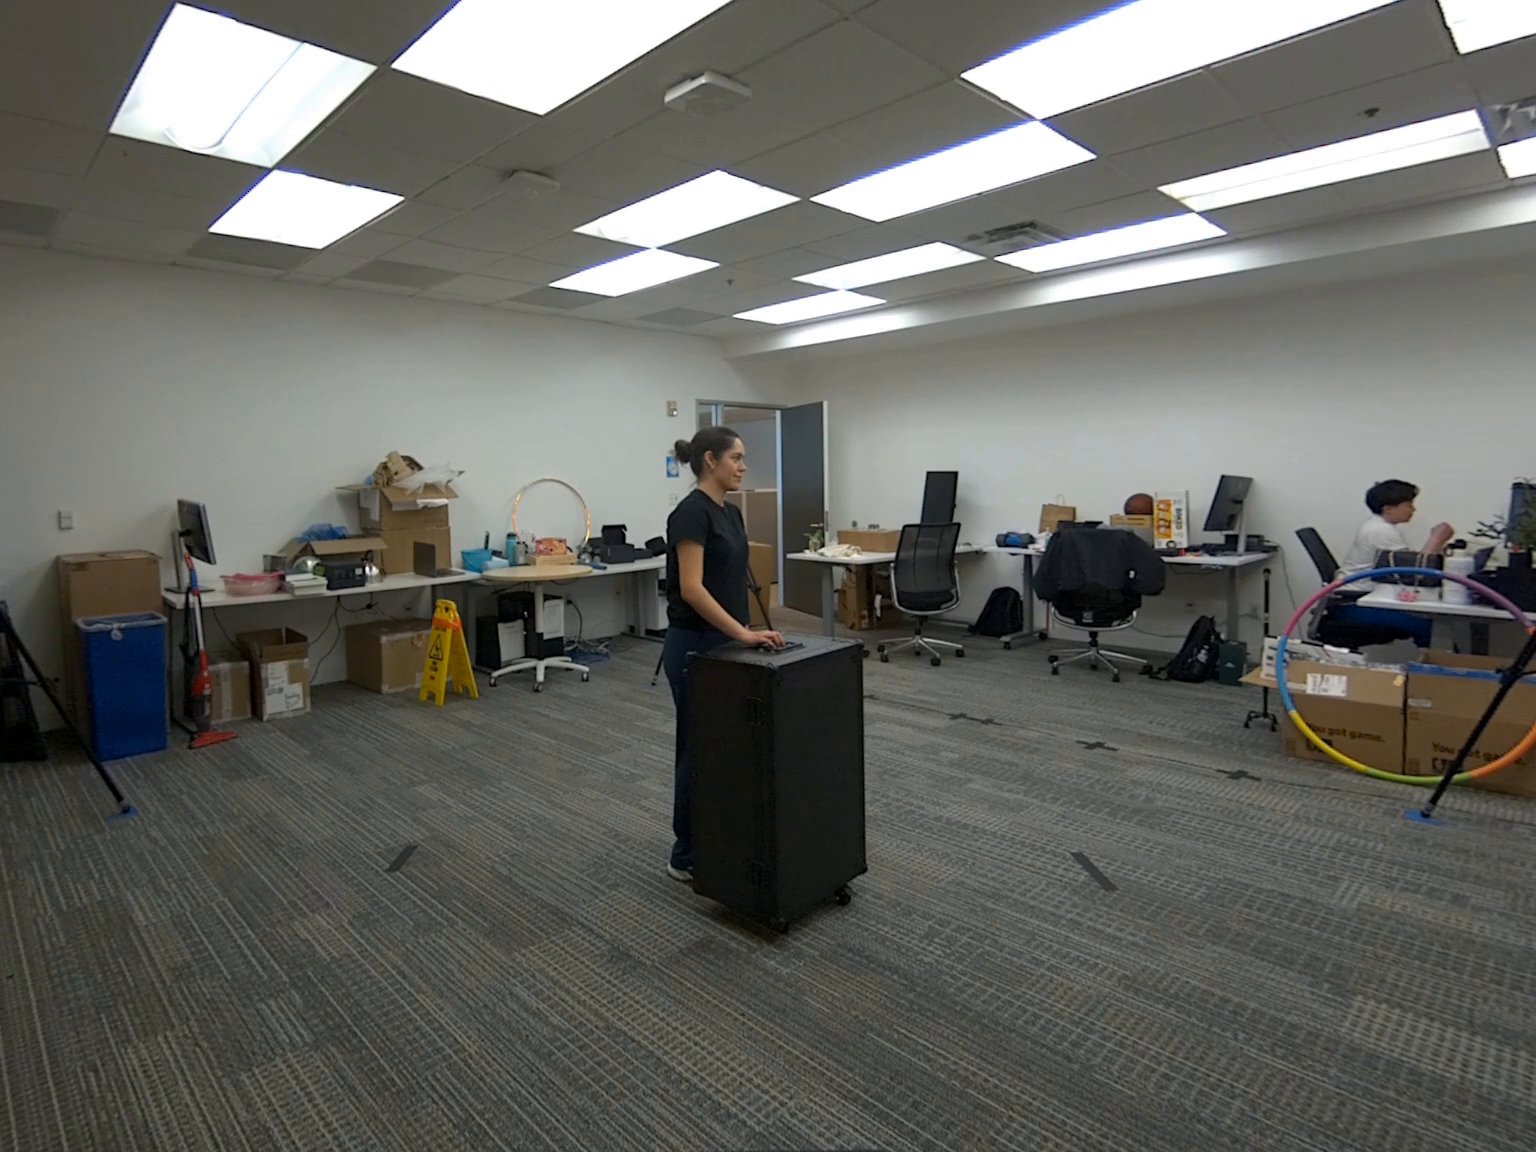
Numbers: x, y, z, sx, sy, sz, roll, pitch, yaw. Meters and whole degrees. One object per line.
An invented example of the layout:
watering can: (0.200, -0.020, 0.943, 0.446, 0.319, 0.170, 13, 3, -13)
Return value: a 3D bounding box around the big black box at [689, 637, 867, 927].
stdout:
big black box: (0.043, 0.655, 2.801, 0.408, 0.859, 0.507, 2, 5, 40)
